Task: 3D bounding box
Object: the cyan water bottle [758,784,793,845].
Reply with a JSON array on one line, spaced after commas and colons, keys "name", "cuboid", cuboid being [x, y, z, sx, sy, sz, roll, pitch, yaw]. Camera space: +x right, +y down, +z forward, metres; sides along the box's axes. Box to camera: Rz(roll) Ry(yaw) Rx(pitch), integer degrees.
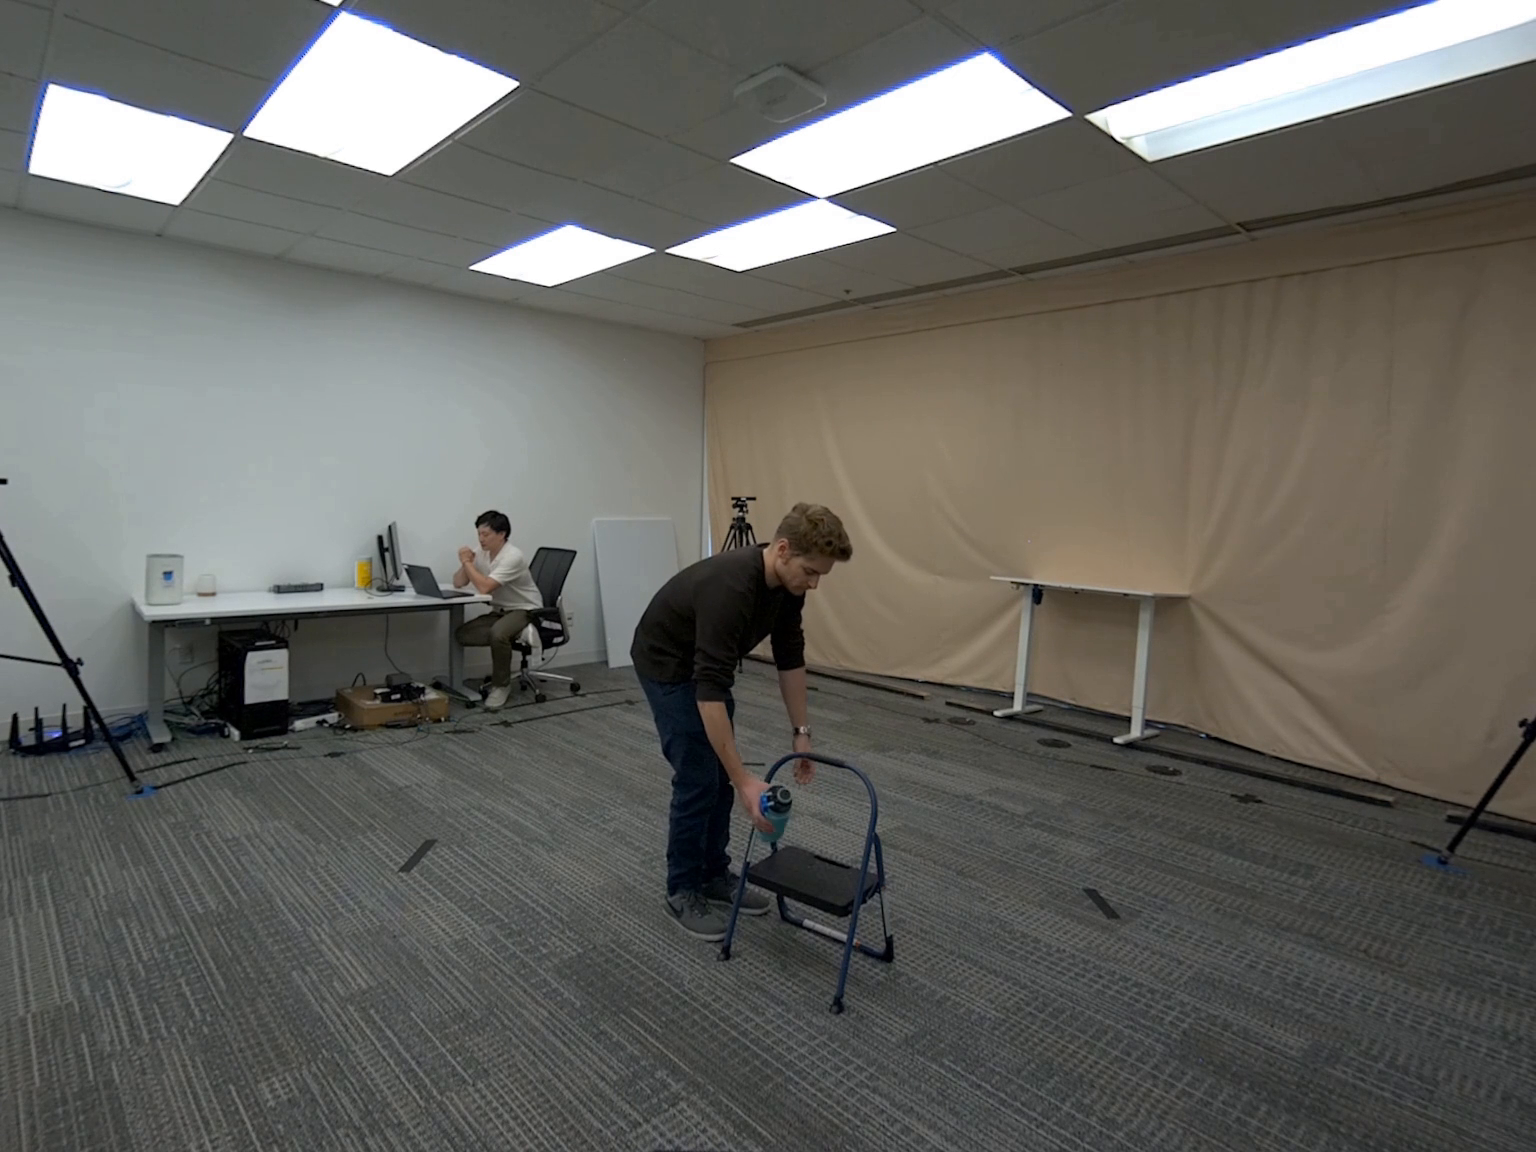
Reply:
[{"name": "cyan water bottle", "cuboid": [0.020, 0.675, 2.405, 0.092, 0.094, 0.277, 2, -34, 1]}]
